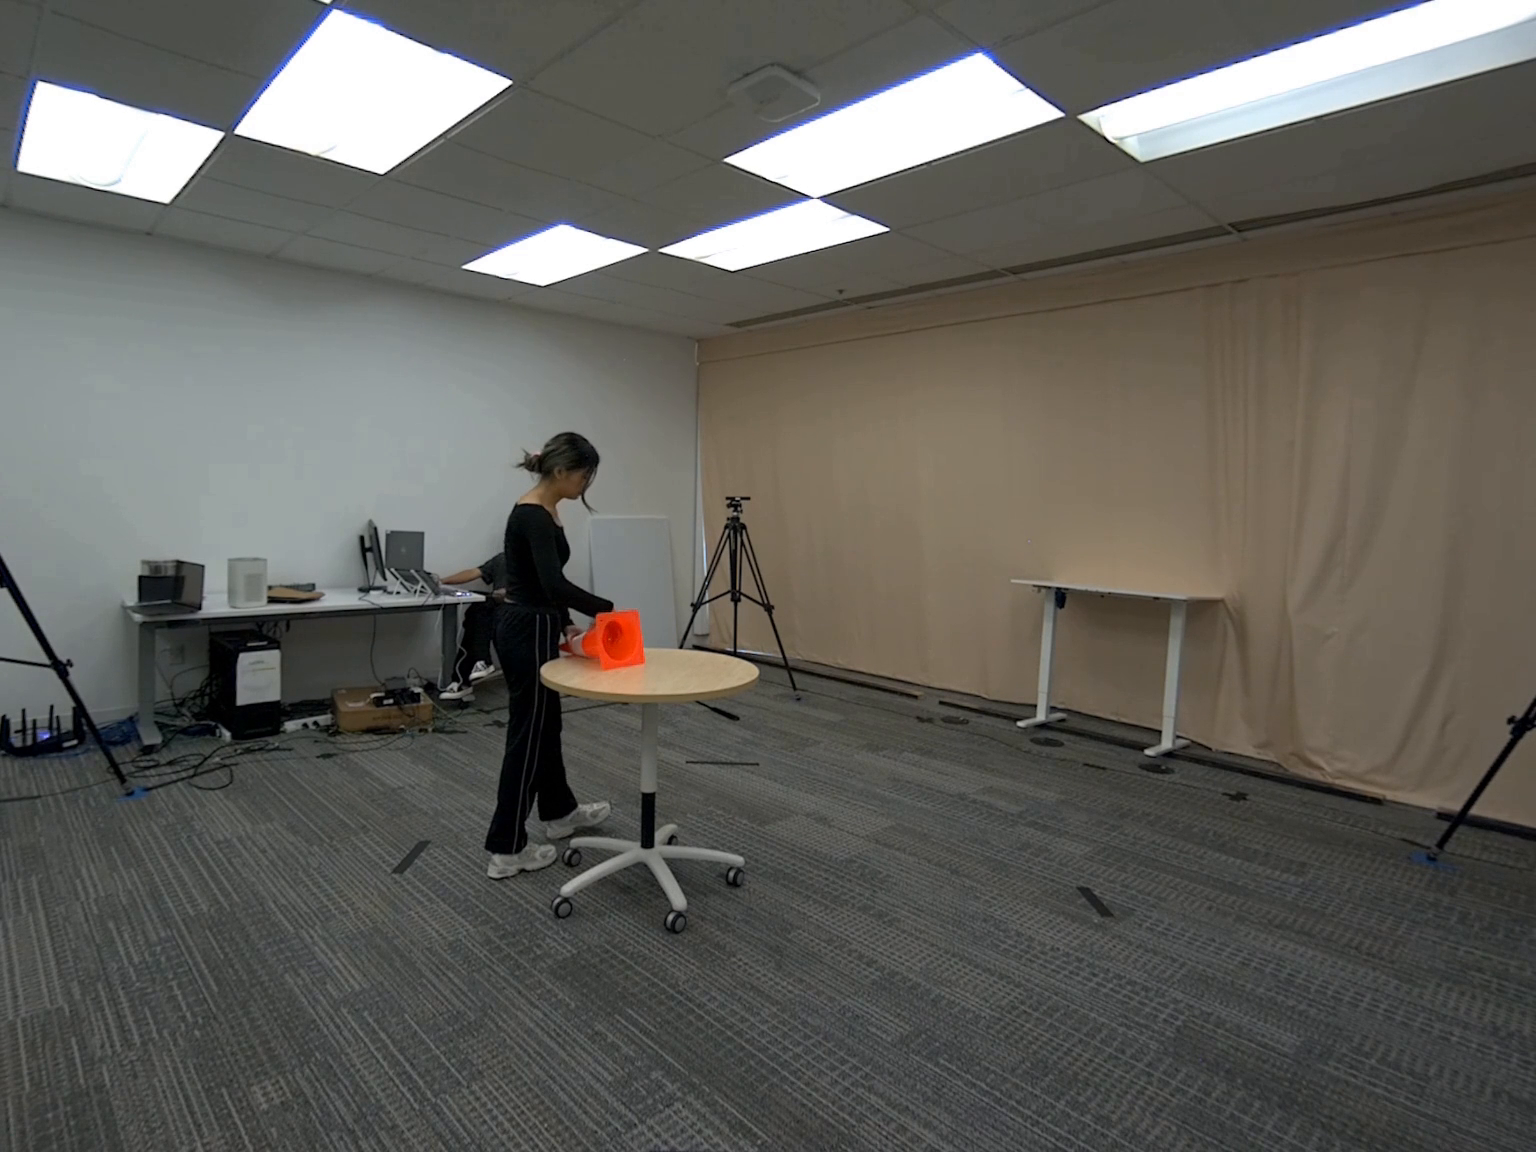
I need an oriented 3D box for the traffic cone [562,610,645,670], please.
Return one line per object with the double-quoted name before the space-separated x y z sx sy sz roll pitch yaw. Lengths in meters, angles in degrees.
"traffic cone" -0.664 0.252 3.121 0.200 0.204 0.391 -6 -3 -45
